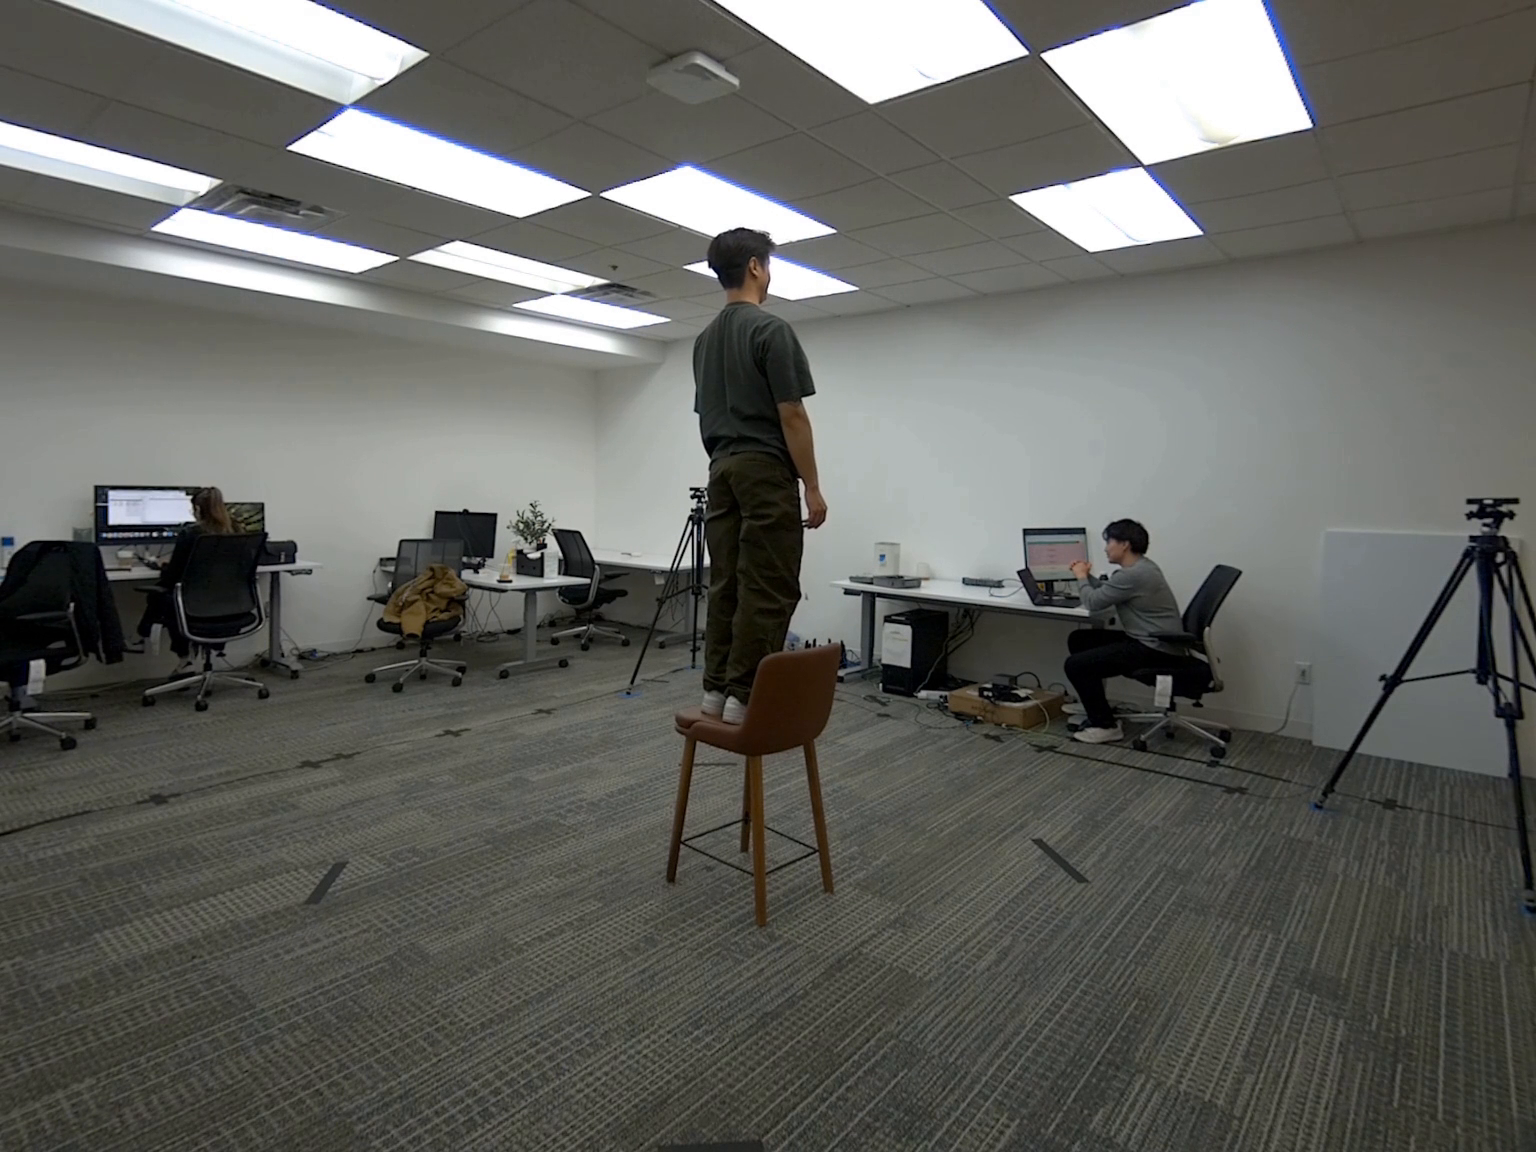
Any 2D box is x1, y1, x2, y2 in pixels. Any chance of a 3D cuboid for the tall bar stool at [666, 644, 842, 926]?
[{"bbox_3d":[-0.054,0.647,2.959,0.484,0.886,0.442,6,6,43],"label":"tall bar stool"}]
